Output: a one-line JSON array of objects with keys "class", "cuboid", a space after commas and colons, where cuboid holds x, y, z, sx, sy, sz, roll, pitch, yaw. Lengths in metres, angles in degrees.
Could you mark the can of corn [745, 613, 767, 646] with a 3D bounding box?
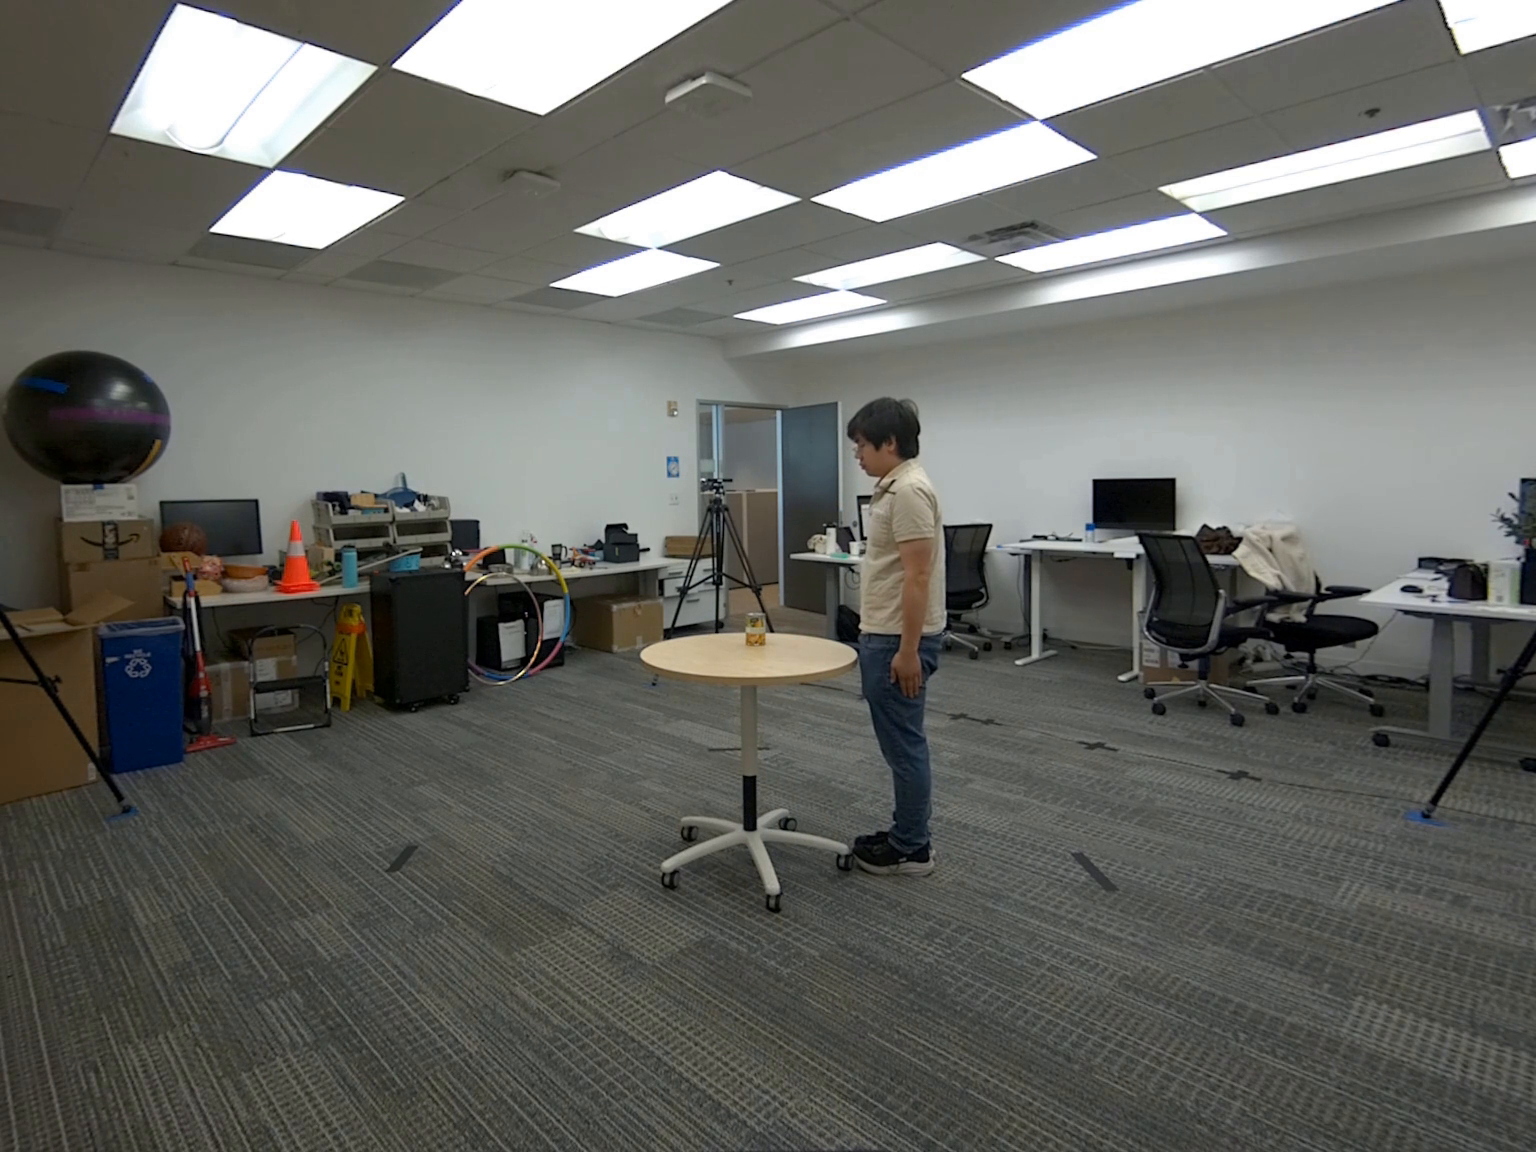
[{"class": "can of corn", "cuboid": [-0.041, 0.199, 3.175, 0.074, 0.111, 0.074, 2, 0, -2]}]
